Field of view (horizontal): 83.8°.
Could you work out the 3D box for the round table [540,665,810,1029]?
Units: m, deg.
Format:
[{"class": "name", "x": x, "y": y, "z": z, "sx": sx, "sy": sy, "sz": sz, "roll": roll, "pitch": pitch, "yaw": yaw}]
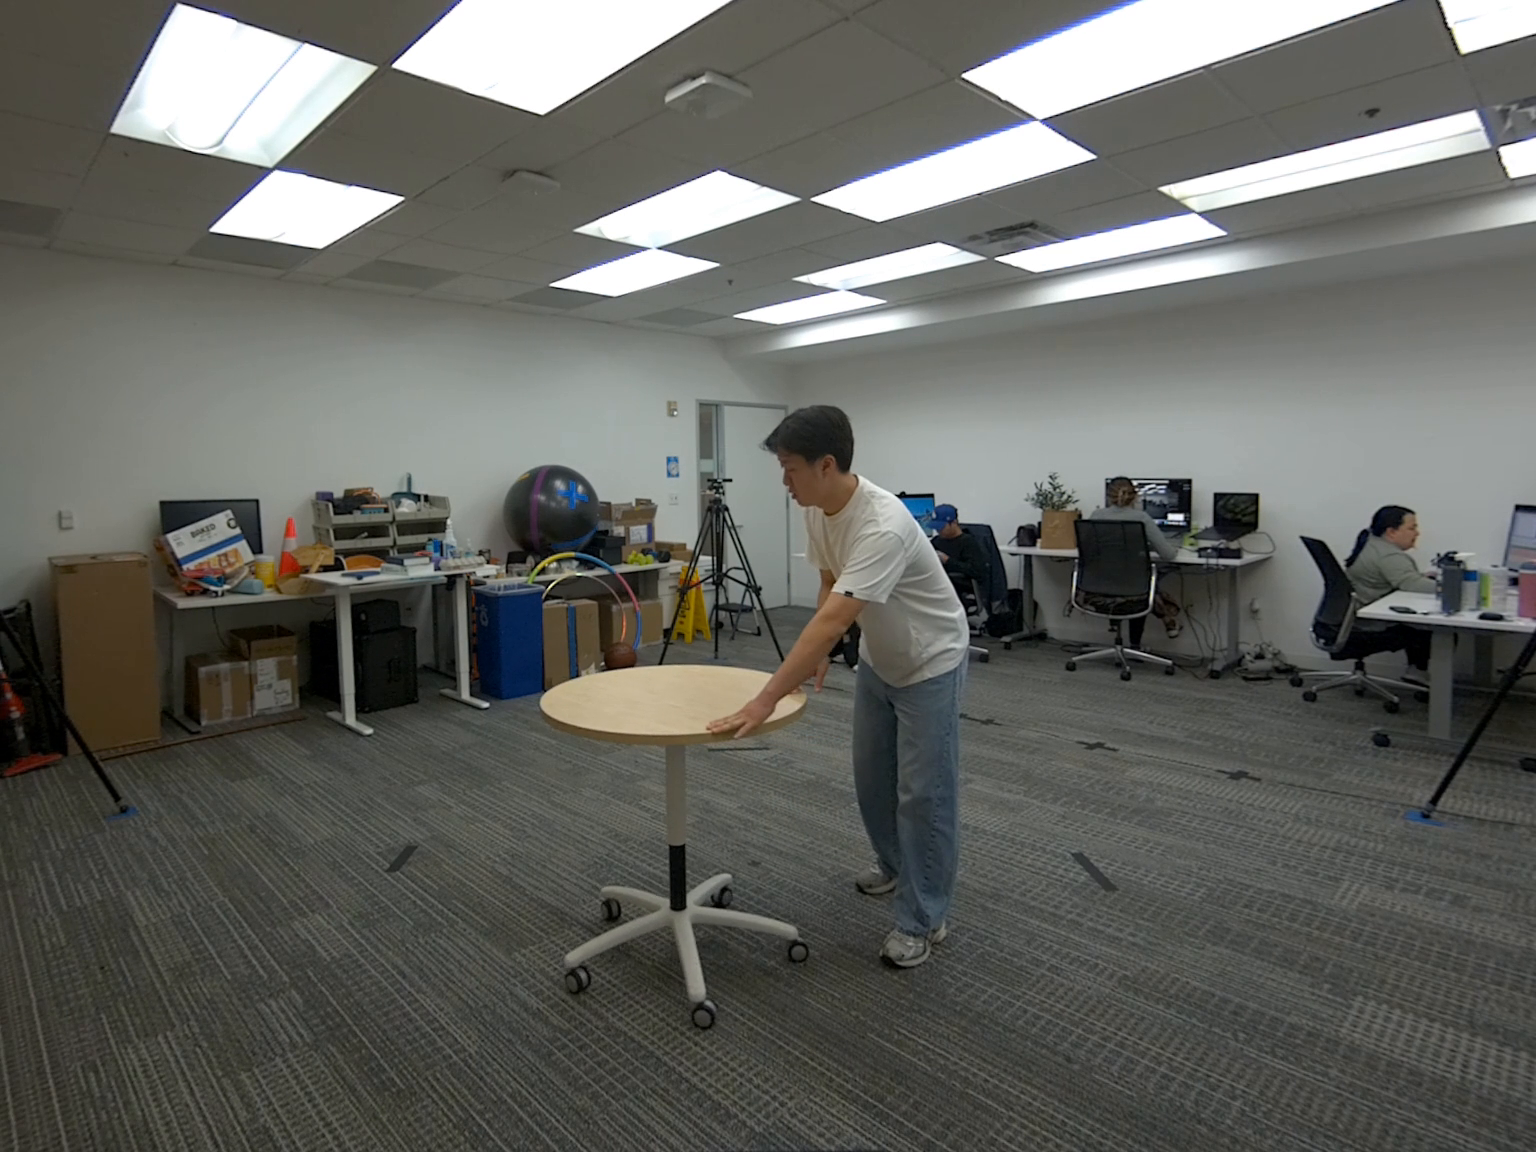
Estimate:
[{"class": "round table", "x": -0.256, "y": 0.735, "z": 2.506, "sx": 0.763, "sy": 0.790, "sz": 0.768, "roll": -1, "pitch": 6, "yaw": -2}]
